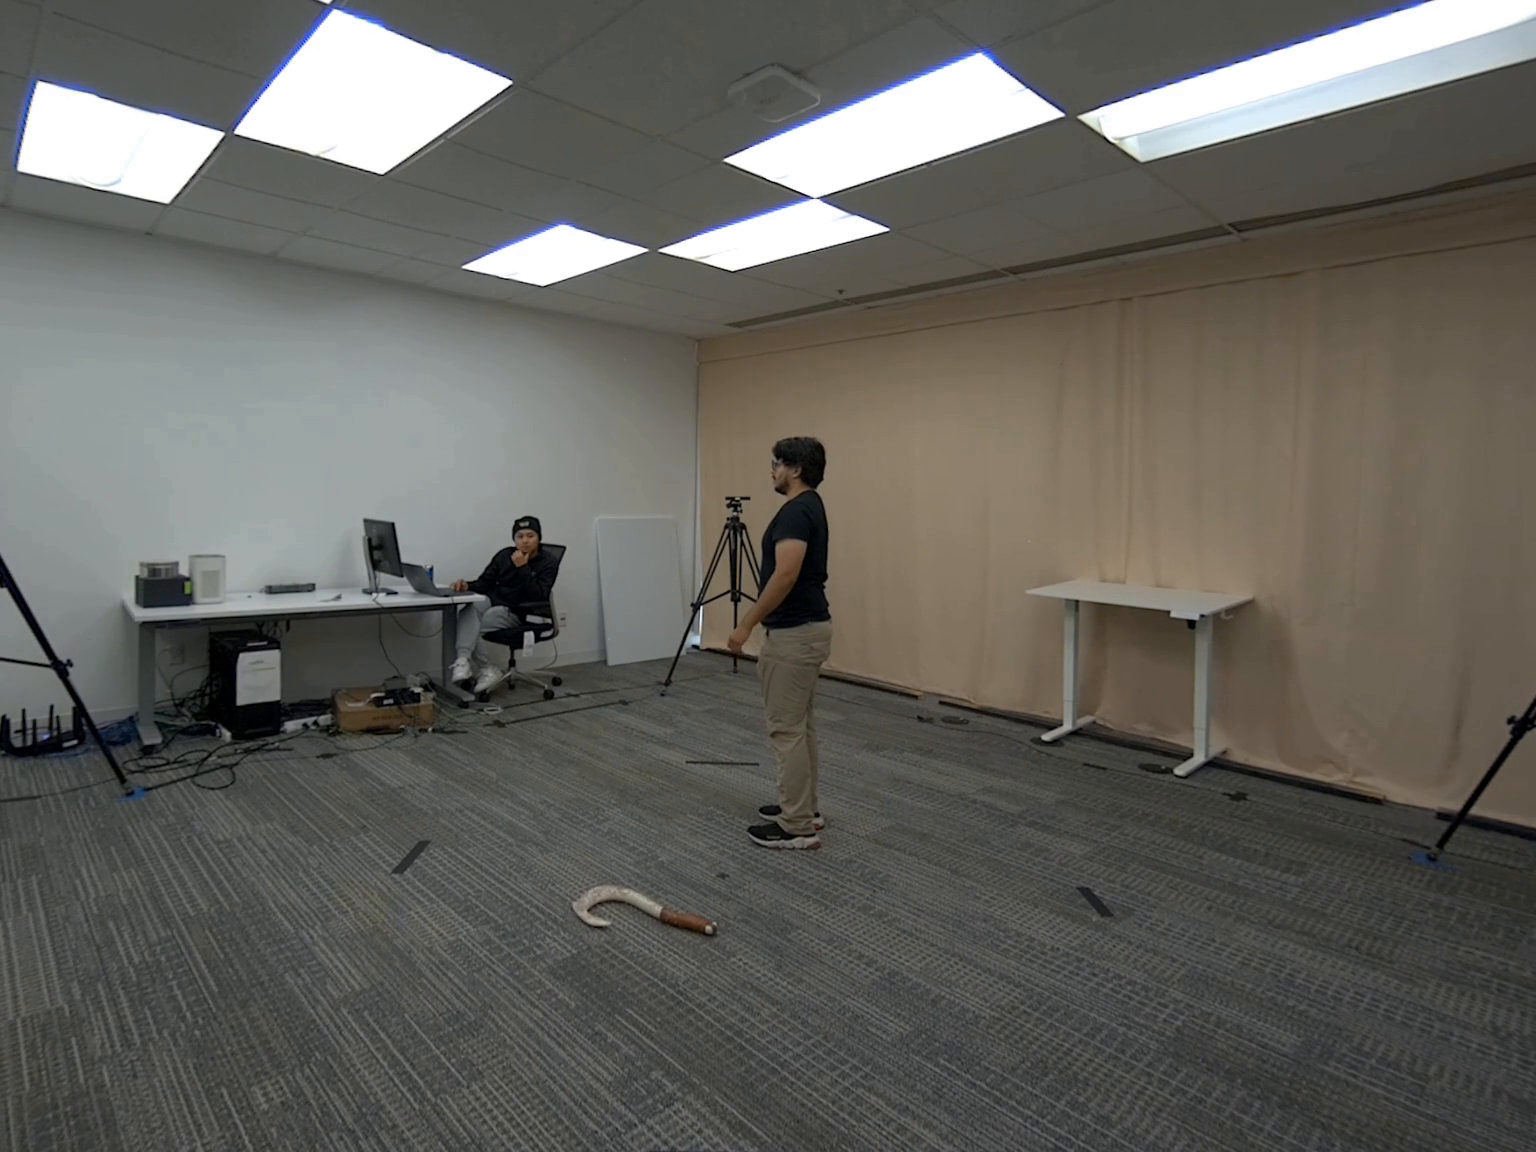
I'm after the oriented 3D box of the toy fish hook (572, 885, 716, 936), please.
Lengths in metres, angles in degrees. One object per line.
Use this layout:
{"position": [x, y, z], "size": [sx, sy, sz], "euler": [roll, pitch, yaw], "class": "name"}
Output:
{"position": [-0.418, 1.116, 2.749], "size": [0.517, 0.048, 0.221], "euler": [3, 12, 29], "class": "toy fish hook"}
